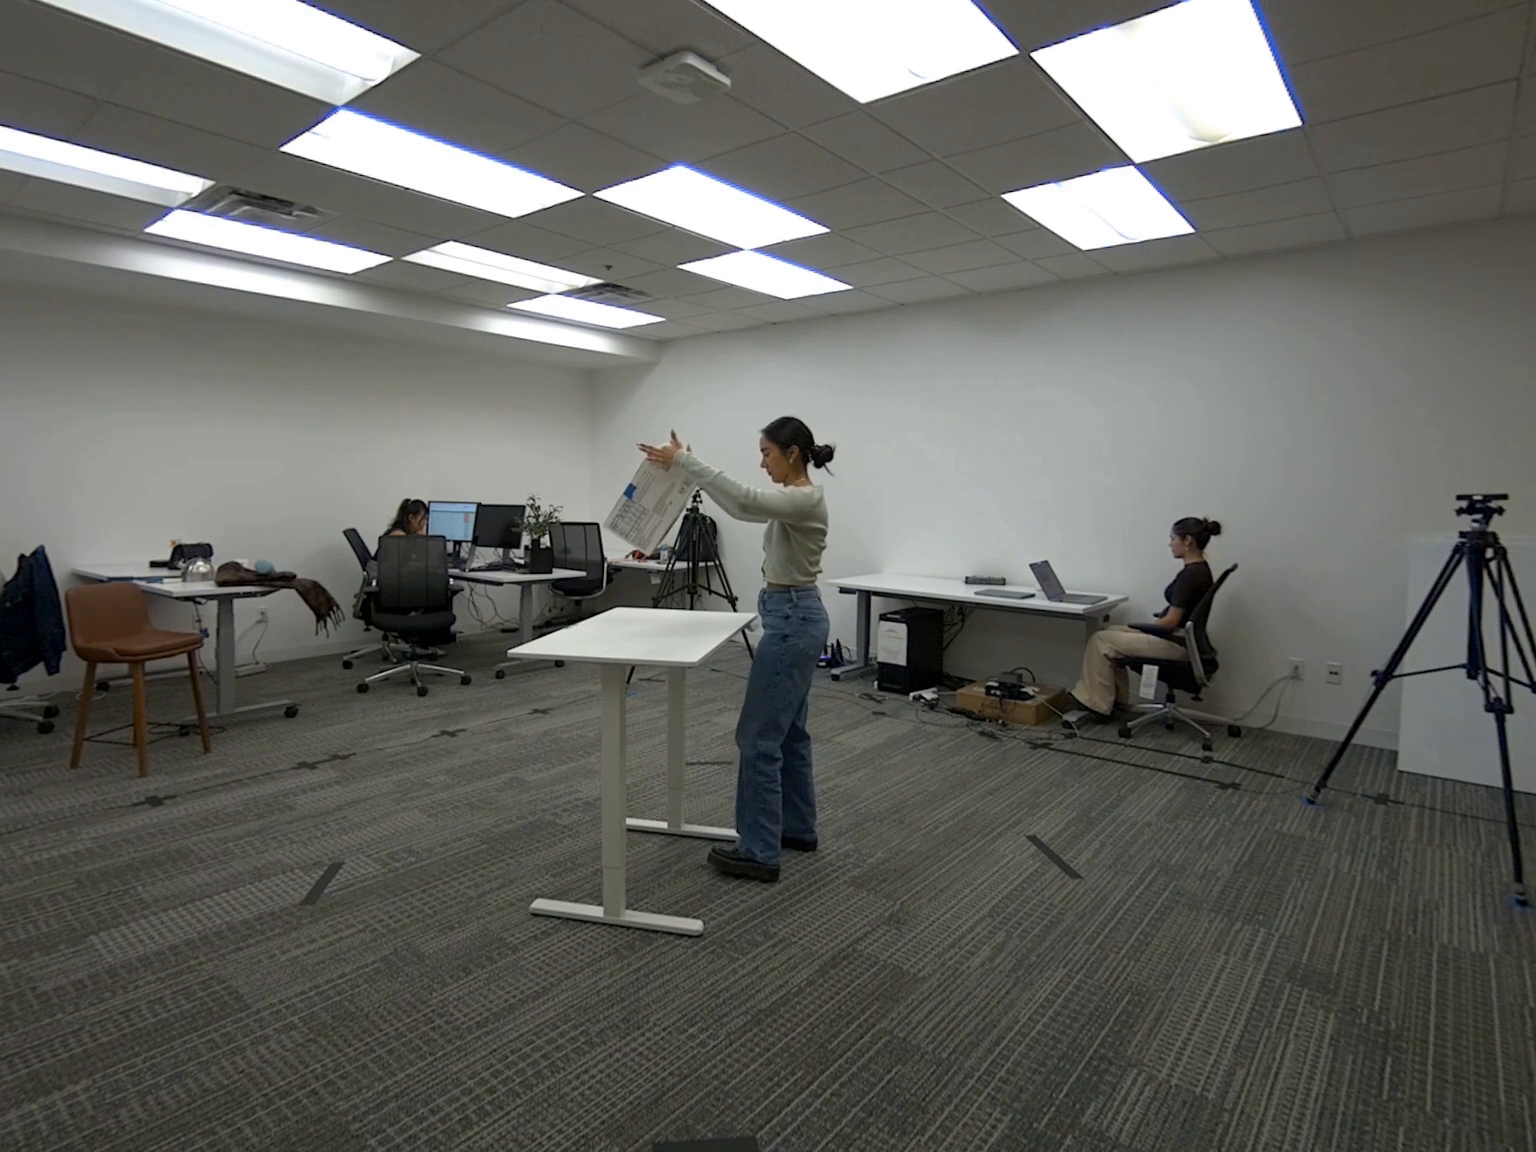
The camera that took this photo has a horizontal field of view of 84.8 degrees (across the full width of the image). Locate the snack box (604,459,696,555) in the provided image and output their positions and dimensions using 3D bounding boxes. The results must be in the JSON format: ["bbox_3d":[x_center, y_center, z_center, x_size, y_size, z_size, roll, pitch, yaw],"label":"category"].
[{"bbox_3d":[-0.424,-0.301,3.218,0.205,0.339,0.408,33,11,-5],"label":"snack box"}]
